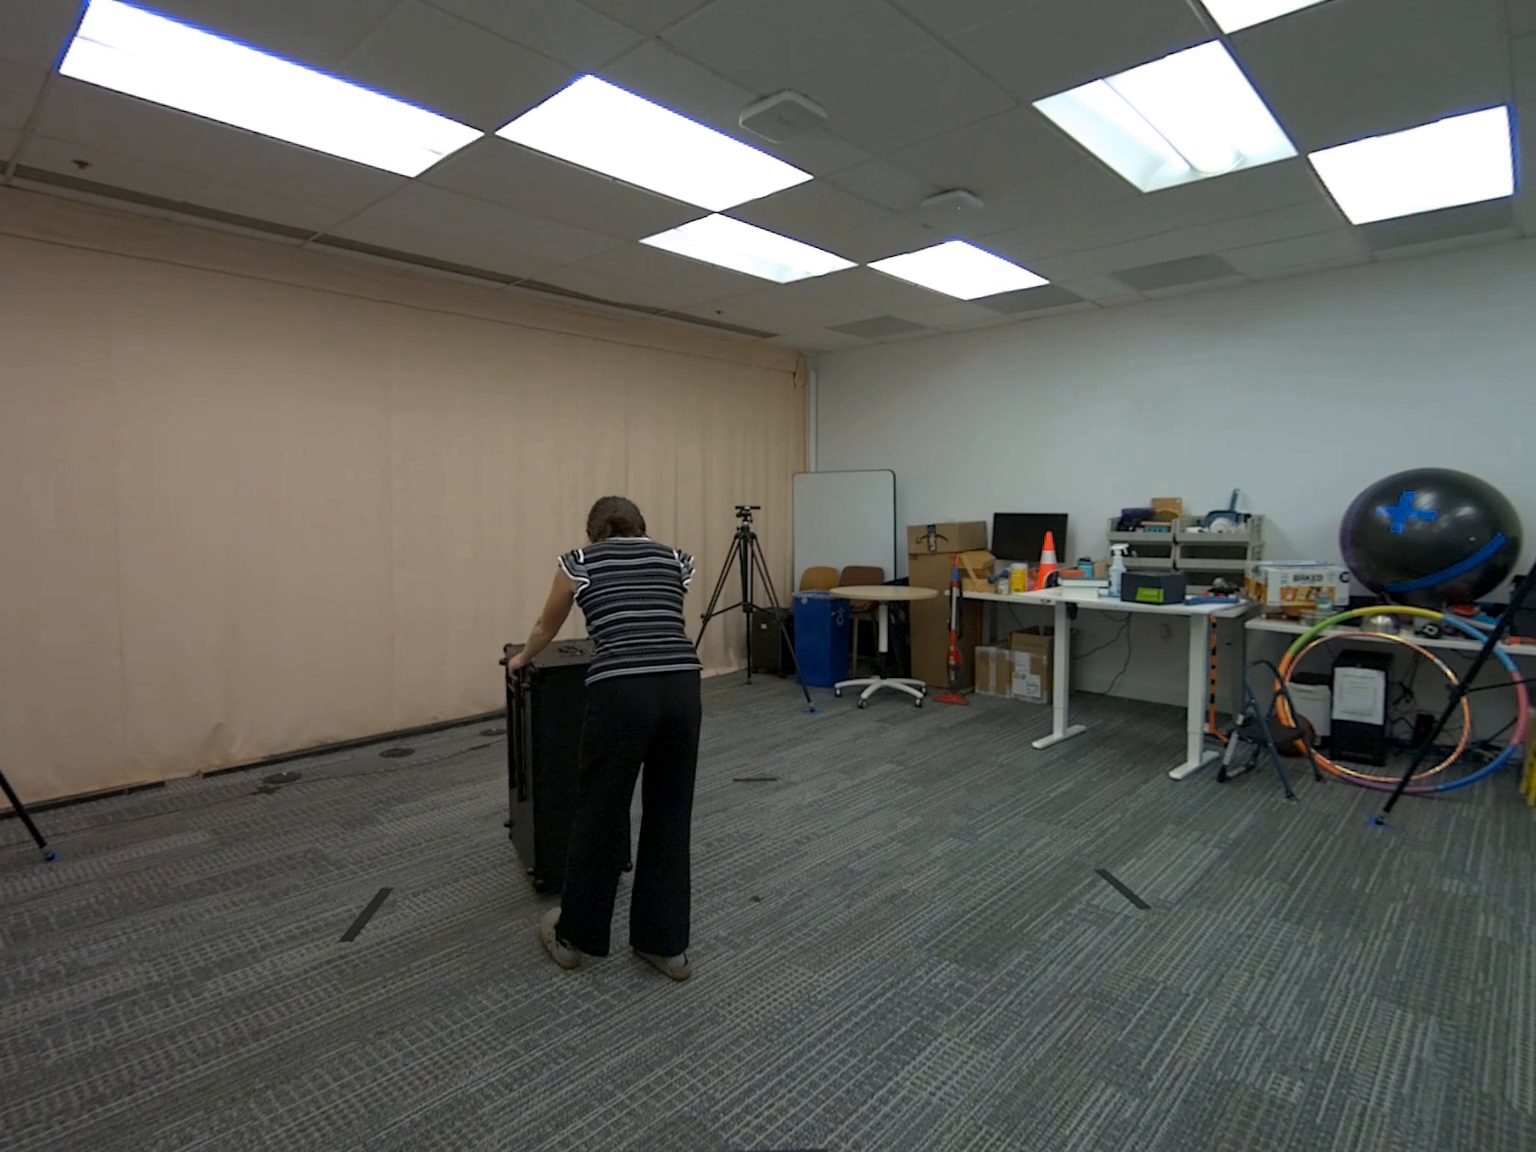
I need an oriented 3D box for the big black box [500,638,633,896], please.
[{"bbox_3d":[-0.770,0.710,3.175,0.387,0.859,0.535,-3,5,-26],"label":"big black box"}]
